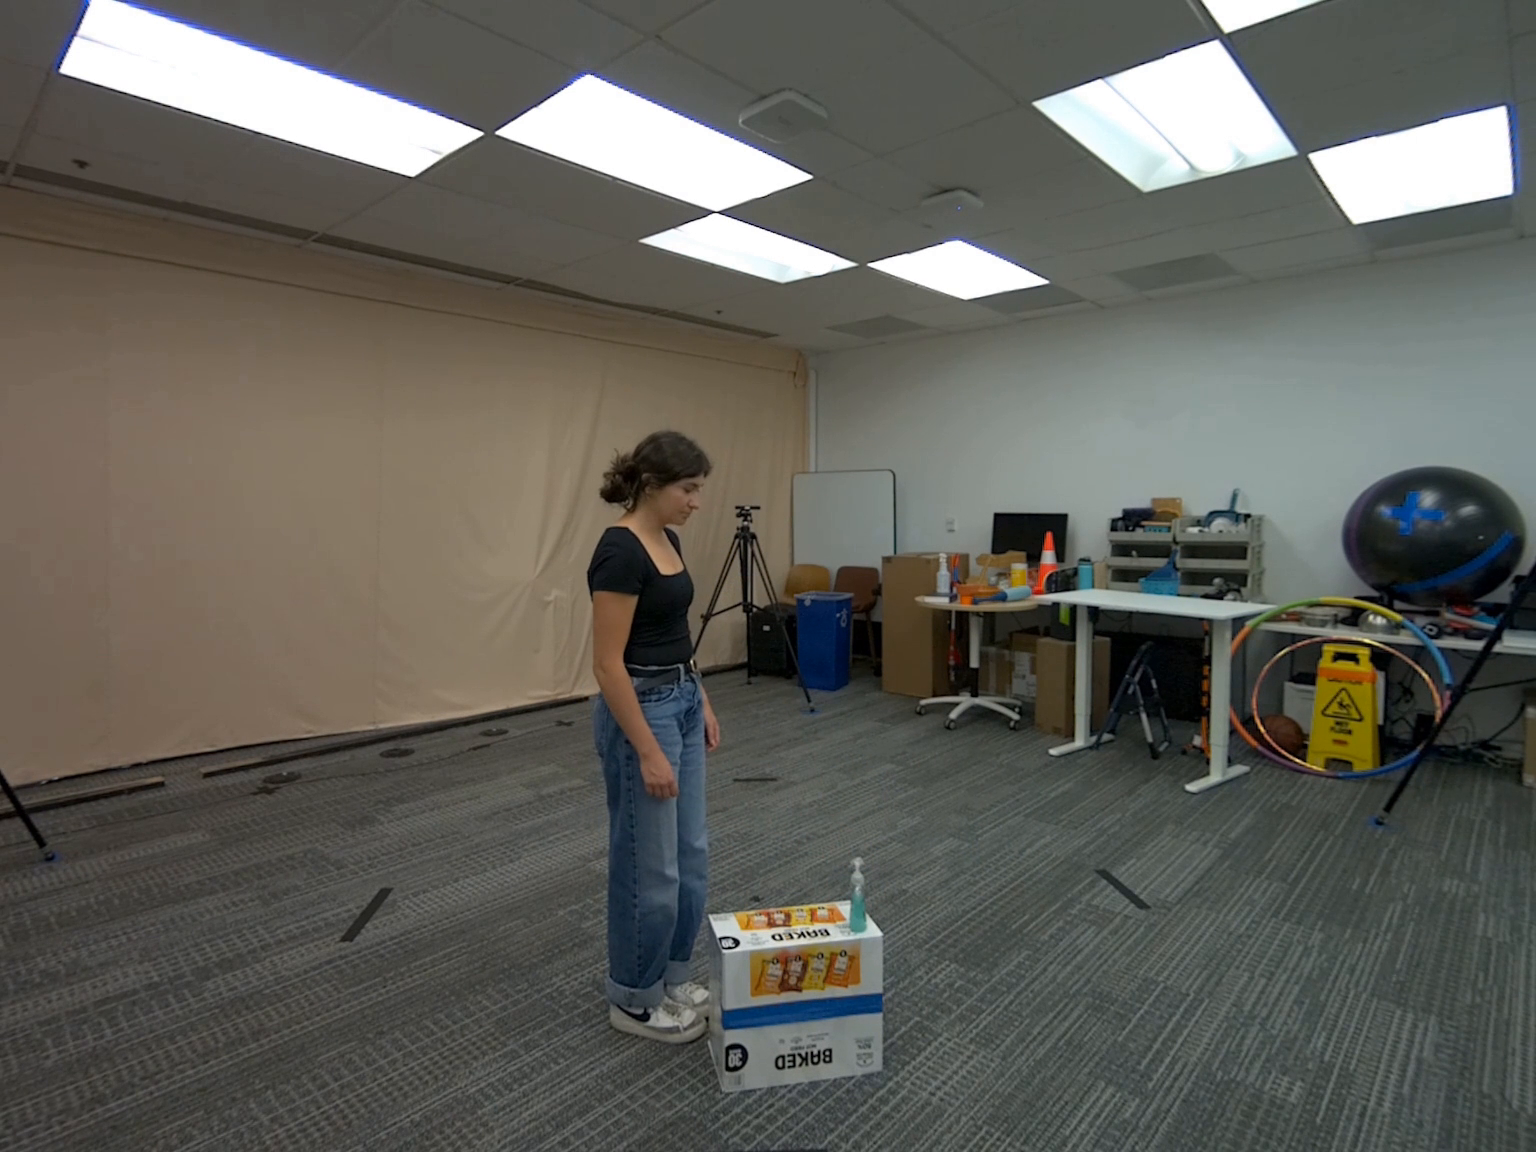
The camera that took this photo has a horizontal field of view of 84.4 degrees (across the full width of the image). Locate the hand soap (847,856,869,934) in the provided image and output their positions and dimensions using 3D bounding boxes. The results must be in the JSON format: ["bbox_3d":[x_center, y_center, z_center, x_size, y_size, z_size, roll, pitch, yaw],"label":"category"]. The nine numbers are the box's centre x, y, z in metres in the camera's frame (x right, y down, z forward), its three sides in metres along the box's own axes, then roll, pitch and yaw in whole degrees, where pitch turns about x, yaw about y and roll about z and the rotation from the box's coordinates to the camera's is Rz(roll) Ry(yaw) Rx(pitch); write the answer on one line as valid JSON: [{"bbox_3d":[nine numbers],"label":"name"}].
[{"bbox_3d":[0.231,0.798,2.092,0.043,0.168,0.085,3,2,-2],"label":"hand soap"}]
